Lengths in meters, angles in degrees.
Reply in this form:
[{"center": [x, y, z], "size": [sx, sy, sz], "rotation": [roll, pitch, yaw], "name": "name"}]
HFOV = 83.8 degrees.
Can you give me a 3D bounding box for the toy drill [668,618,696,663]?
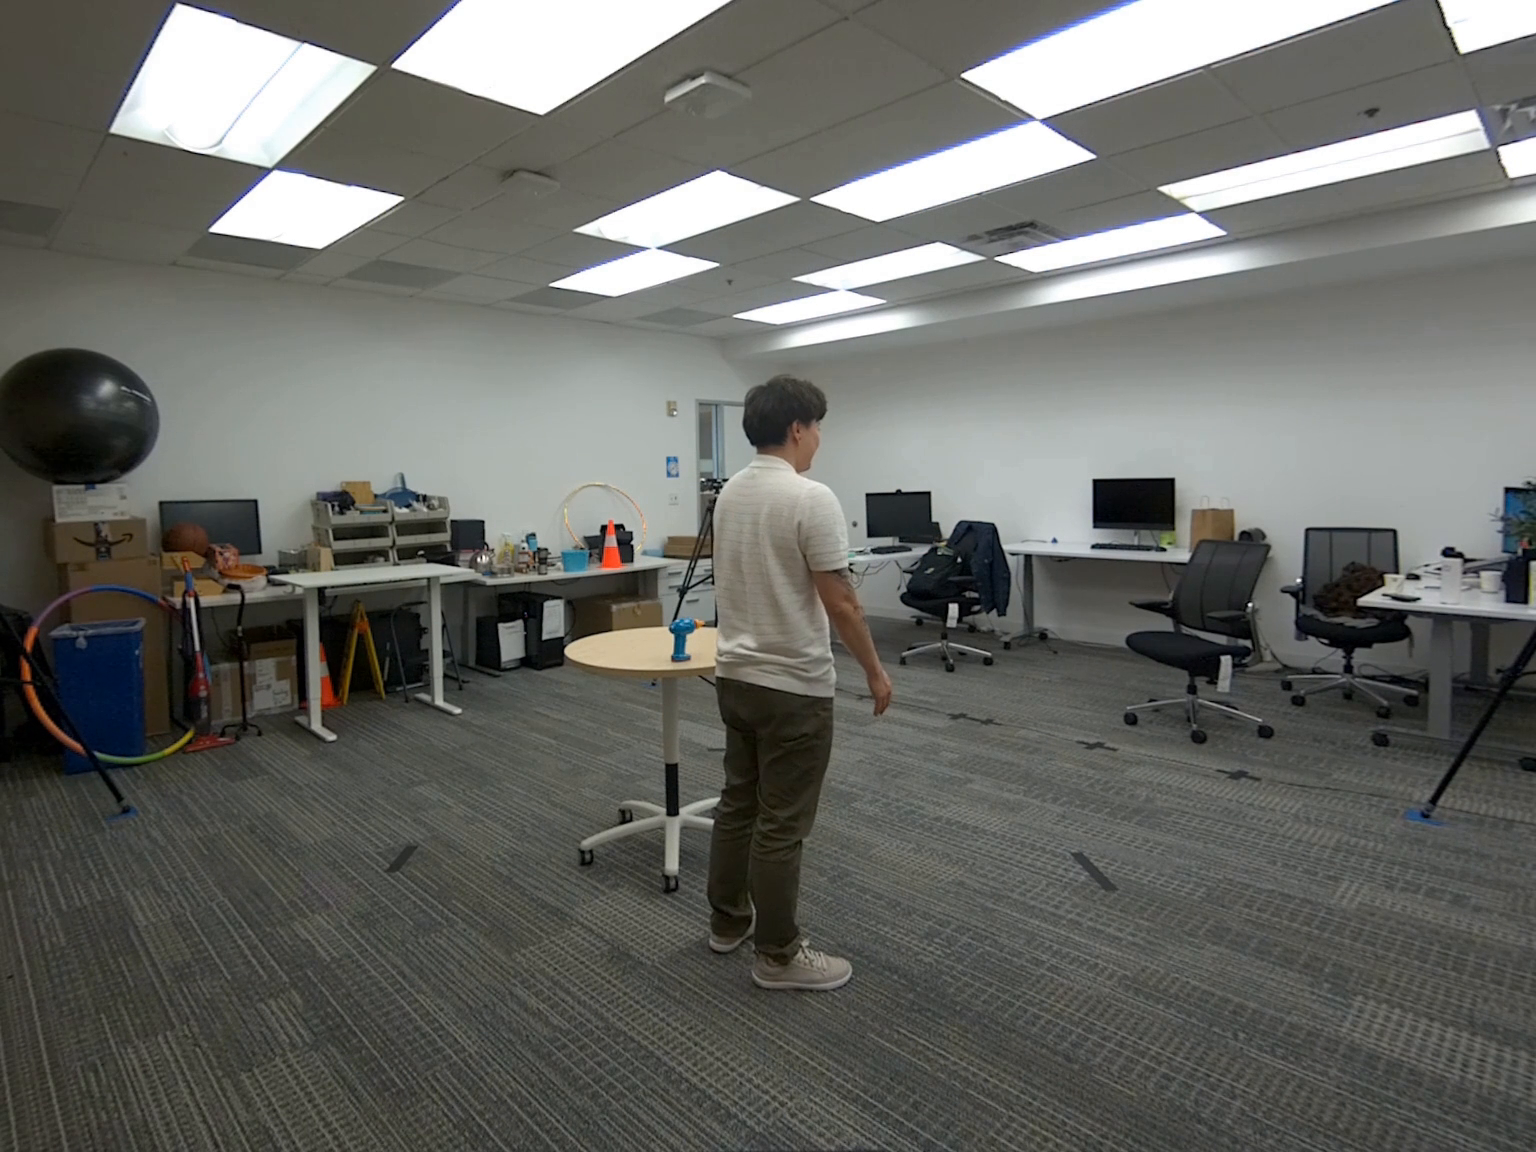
[{"center": [-0.278, 0.214, 2.952], "size": [0.063, 0.145, 0.166], "rotation": [2, 6, 34], "name": "toy drill"}]
